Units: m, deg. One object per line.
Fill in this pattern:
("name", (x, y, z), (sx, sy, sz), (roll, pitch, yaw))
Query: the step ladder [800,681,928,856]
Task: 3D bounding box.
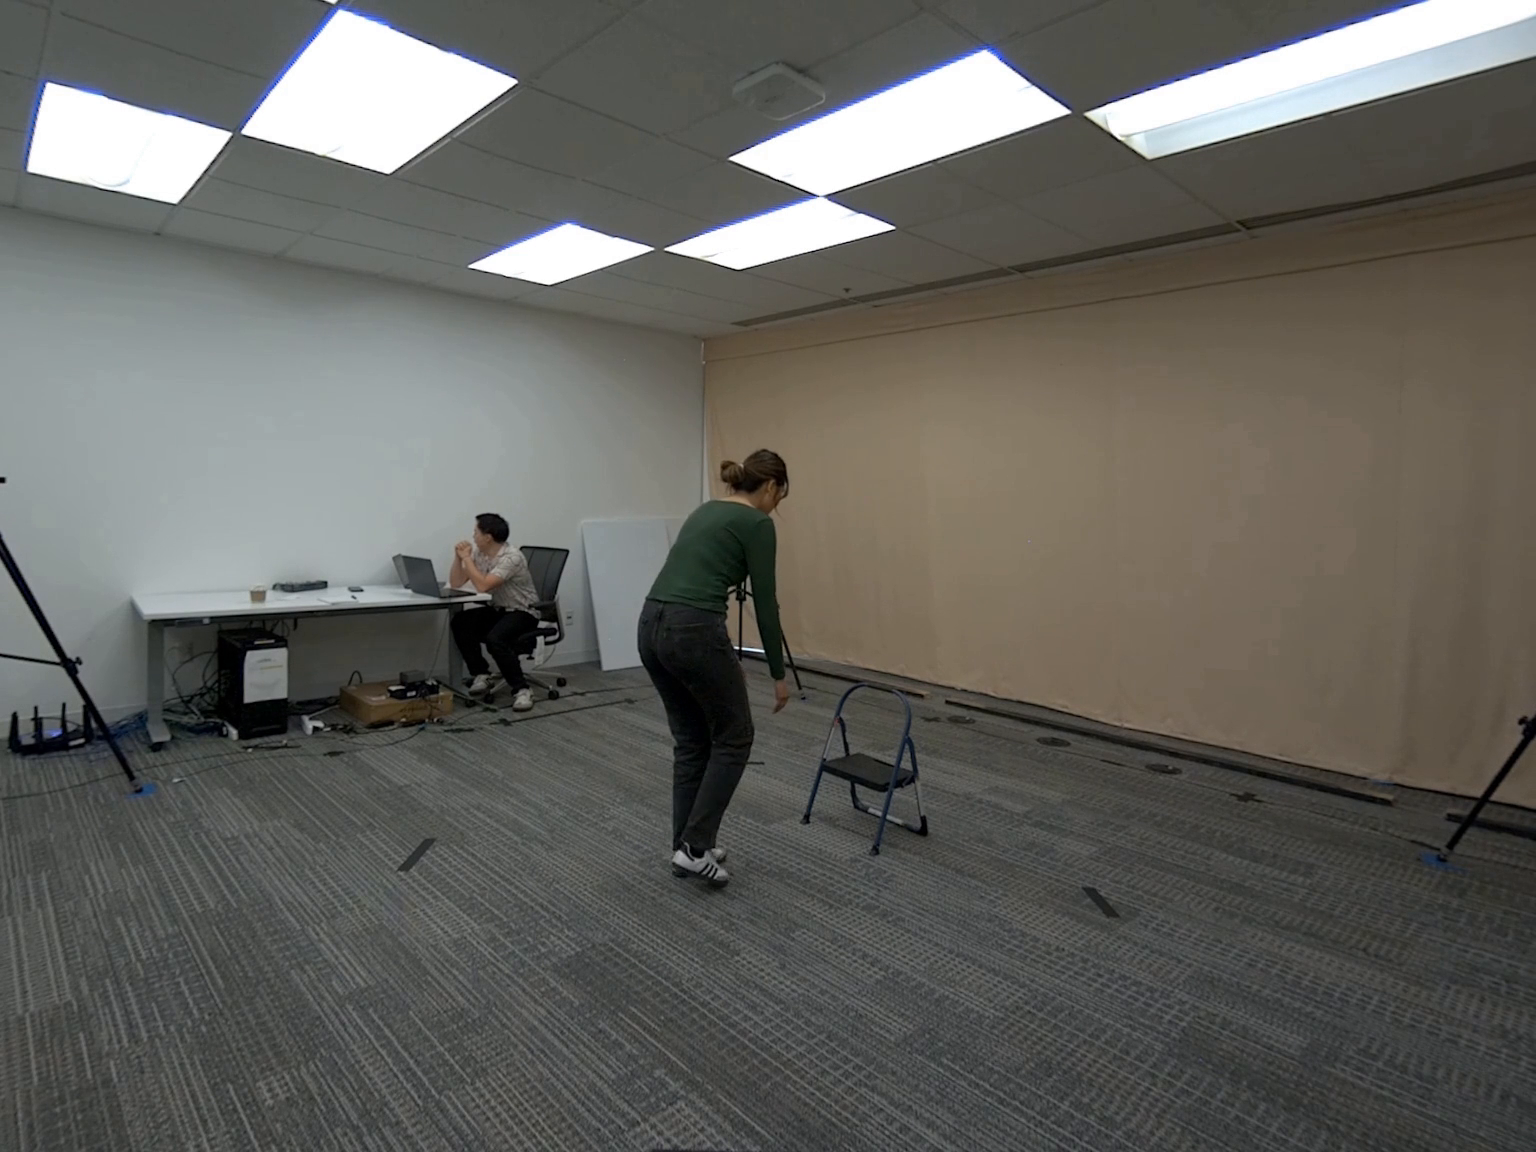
("step ladder", (0.408, 0.773, 3.552), (0.341, 0.604, 0.442), (-1, 5, -40))
